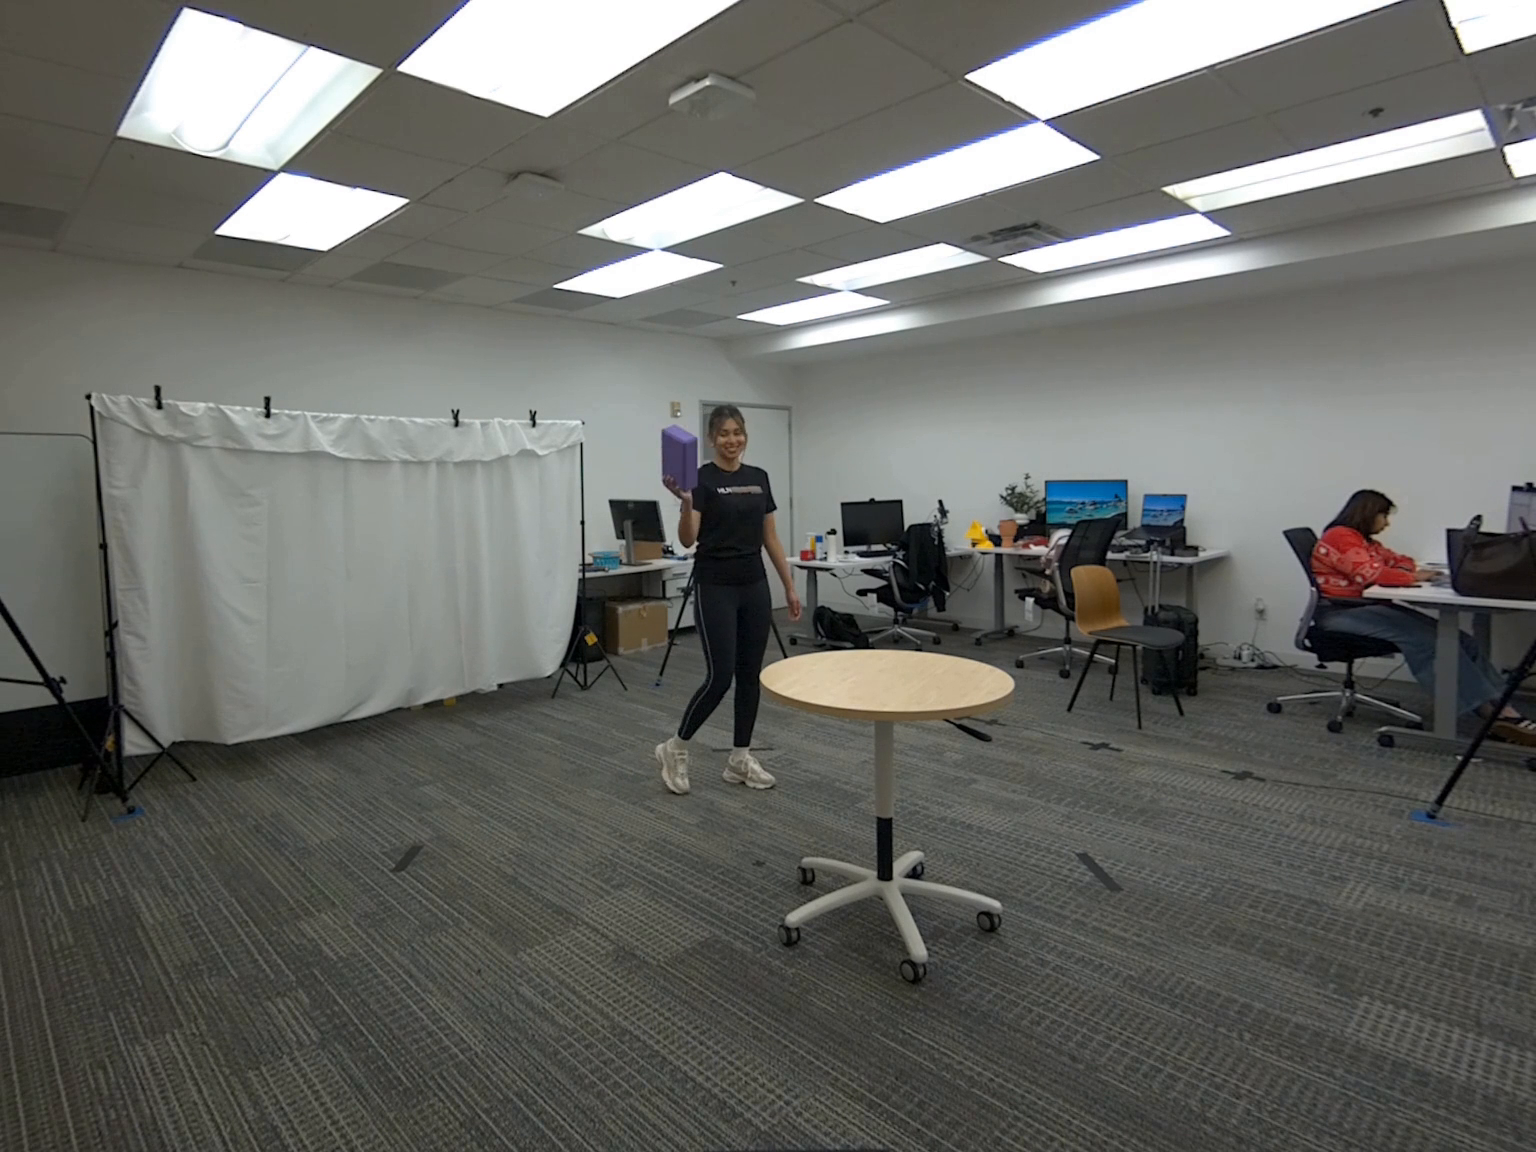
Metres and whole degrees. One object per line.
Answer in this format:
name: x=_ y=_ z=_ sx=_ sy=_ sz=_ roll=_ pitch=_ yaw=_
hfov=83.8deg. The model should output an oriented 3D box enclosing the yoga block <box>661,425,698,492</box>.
yoga block: x=-0.349 y=-0.467 z=3.376 sx=0.075 sy=0.223 sz=0.155 roll=-27 pitch=44 yaw=-34
